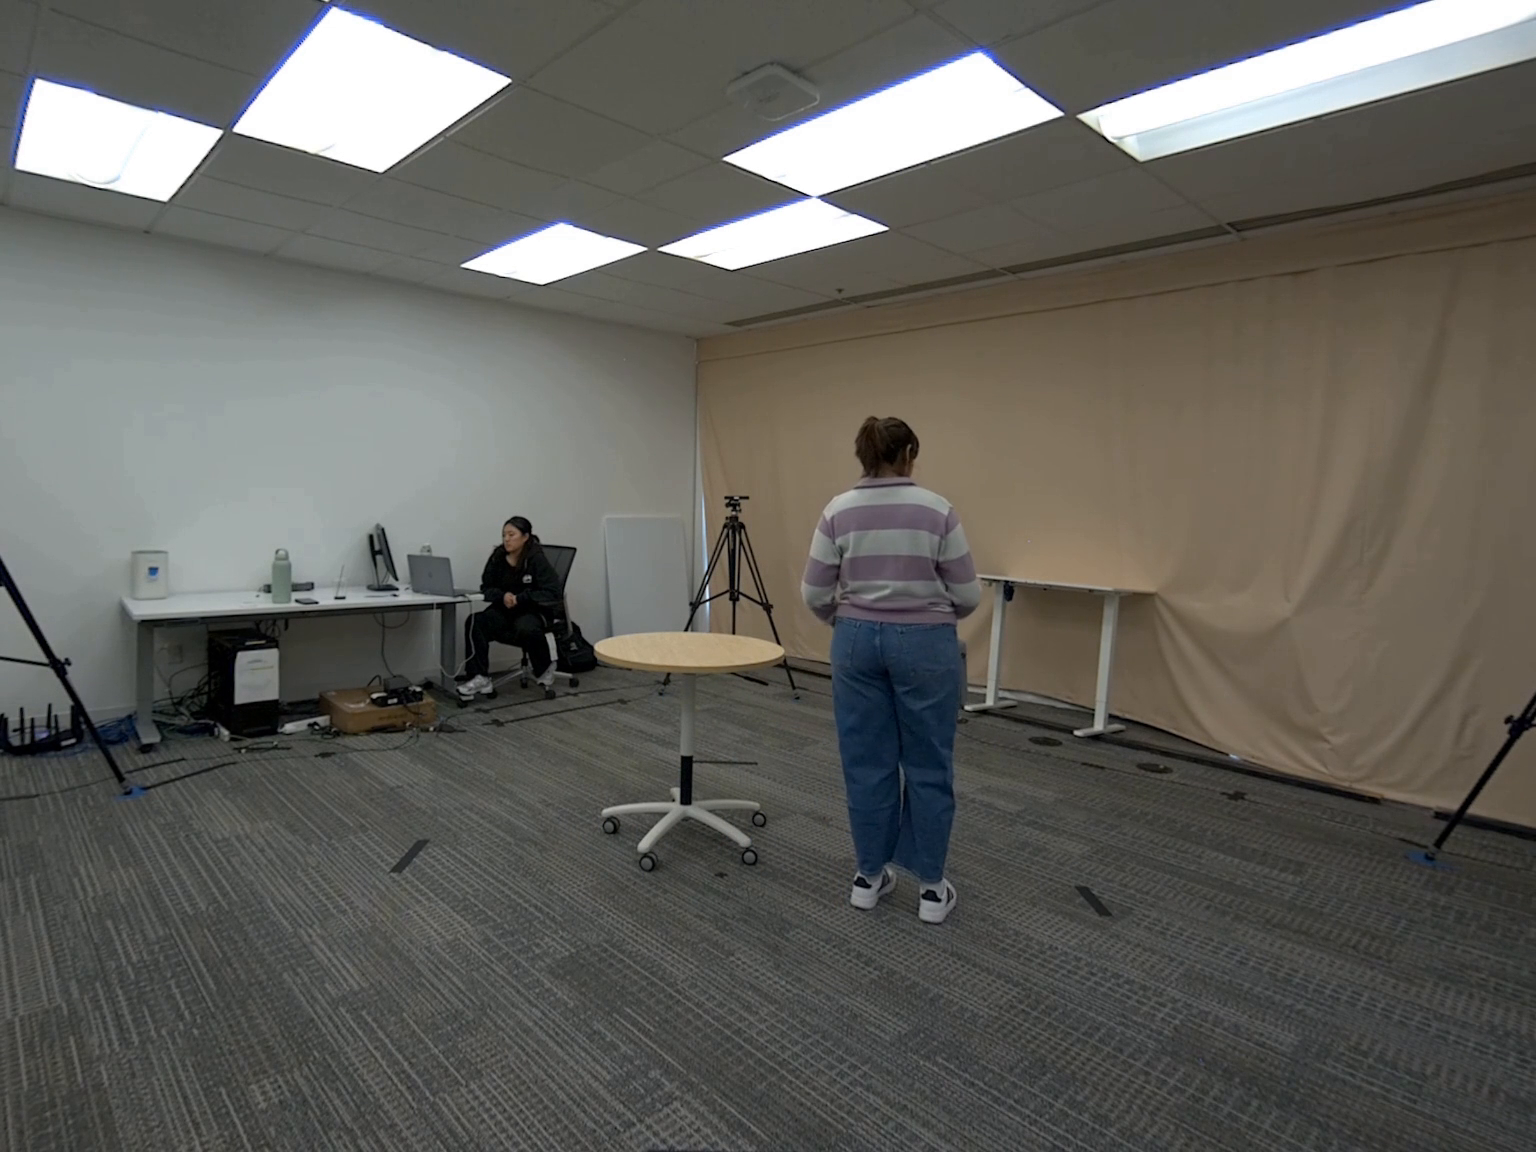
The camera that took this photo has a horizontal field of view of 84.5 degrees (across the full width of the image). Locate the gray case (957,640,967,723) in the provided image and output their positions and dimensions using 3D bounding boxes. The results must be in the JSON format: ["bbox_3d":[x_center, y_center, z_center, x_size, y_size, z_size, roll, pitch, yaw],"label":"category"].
[{"bbox_3d":[0.595,0.338,3.078,0.102,0.259,0.264,-10,14,-44],"label":"gray case"}]
